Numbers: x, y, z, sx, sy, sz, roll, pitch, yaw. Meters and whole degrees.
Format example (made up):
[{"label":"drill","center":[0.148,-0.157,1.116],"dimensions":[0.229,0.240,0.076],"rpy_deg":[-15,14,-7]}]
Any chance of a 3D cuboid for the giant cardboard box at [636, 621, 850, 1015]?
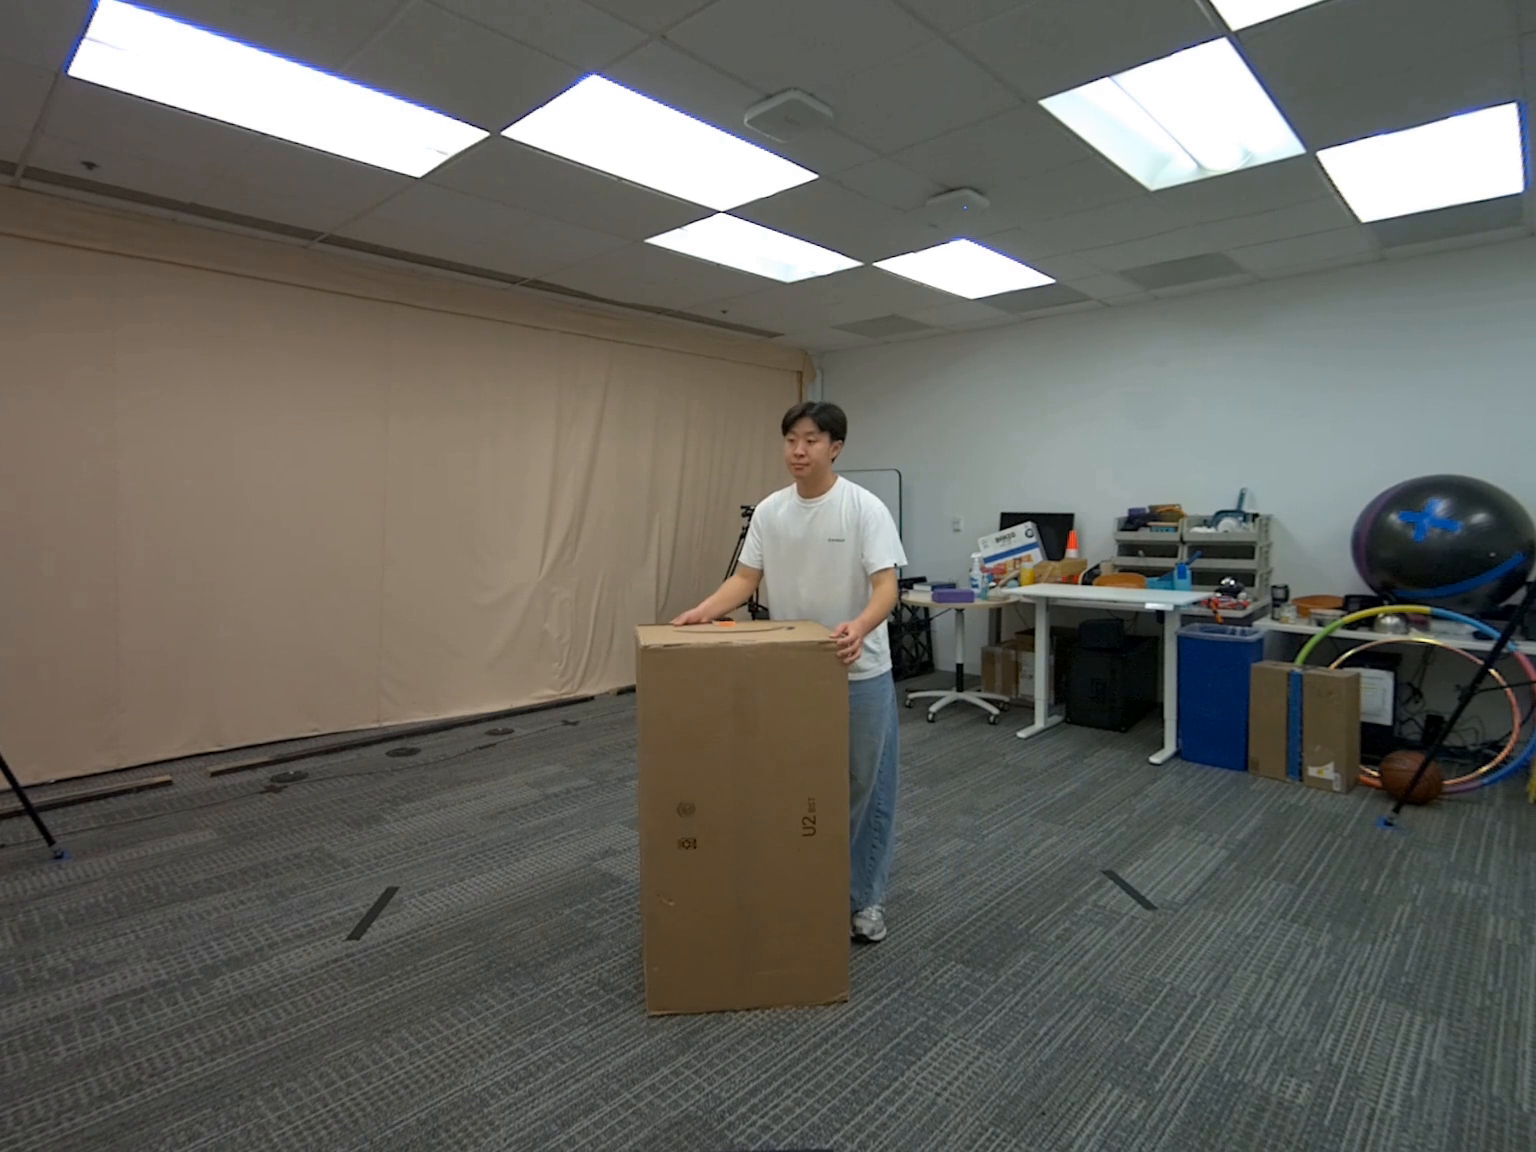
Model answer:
[{"label":"giant cardboard box","center":[-0.098,0.683,2.500],"dimensions":[0.574,1.024,0.430],"rpy_deg":[-1,3,-6]}]
